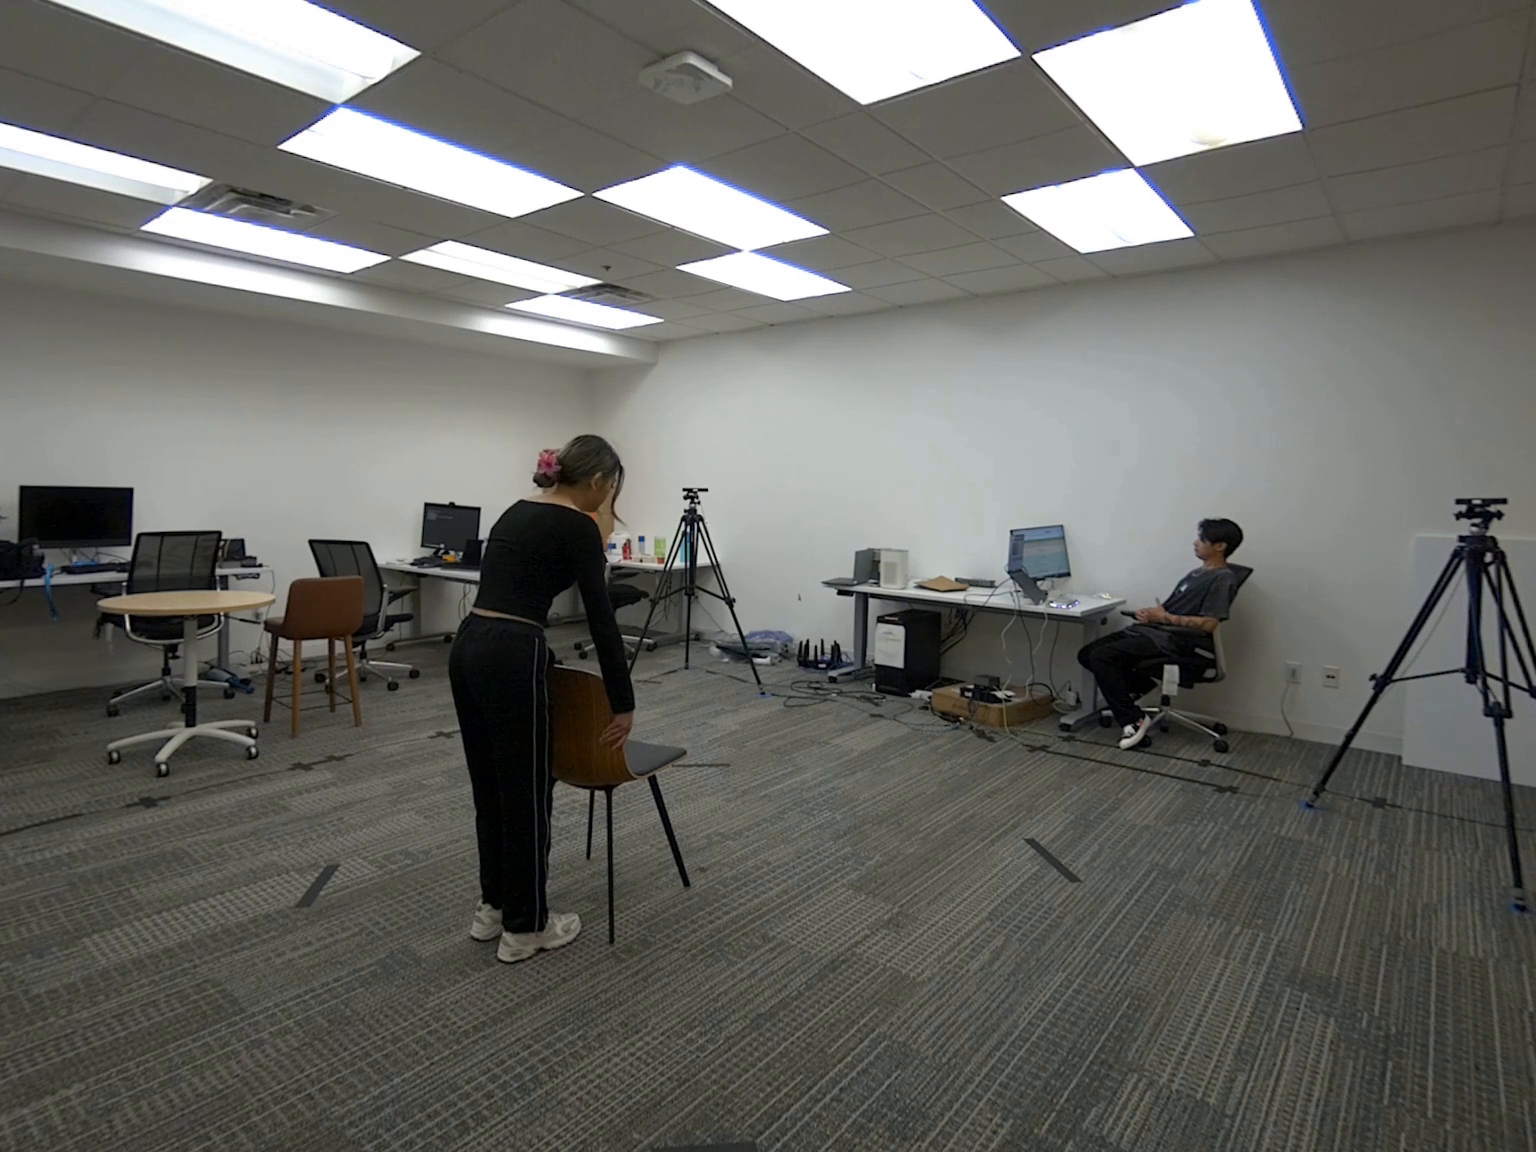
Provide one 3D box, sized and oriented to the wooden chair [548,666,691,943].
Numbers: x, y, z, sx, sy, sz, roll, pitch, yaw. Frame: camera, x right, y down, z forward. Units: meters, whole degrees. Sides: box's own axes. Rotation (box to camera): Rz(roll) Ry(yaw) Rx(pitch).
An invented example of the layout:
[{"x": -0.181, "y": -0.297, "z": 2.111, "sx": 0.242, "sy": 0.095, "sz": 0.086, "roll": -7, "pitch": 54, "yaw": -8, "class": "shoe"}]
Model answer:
[{"x": -0.569, "y": 0.659, "z": 2.870, "sx": 0.491, "sy": 0.871, "sz": 0.512, "roll": 2, "pitch": 8, "yaw": 28, "class": "wooden chair"}]
